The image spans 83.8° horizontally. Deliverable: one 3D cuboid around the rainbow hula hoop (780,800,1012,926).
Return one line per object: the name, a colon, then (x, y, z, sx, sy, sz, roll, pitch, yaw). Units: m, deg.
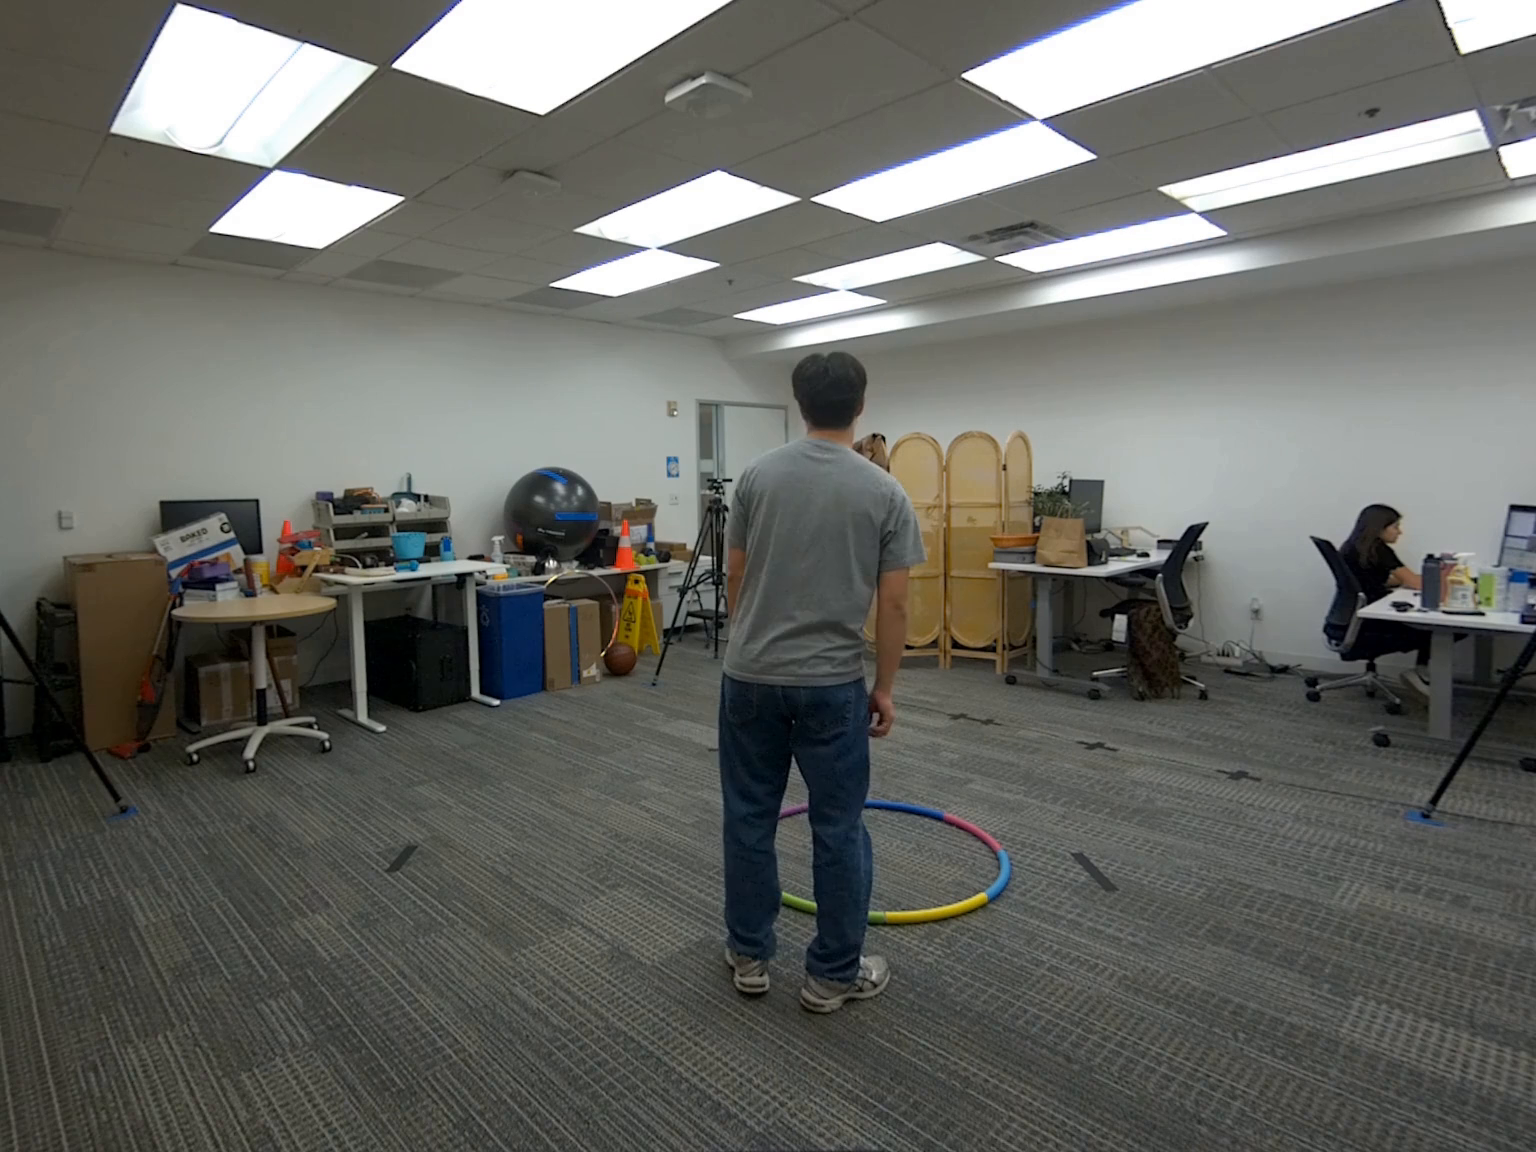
rainbow hula hoop: (0.363, 0.999, 3.145, 0.978, 0.035, 0.984, -1, 6, -2)
